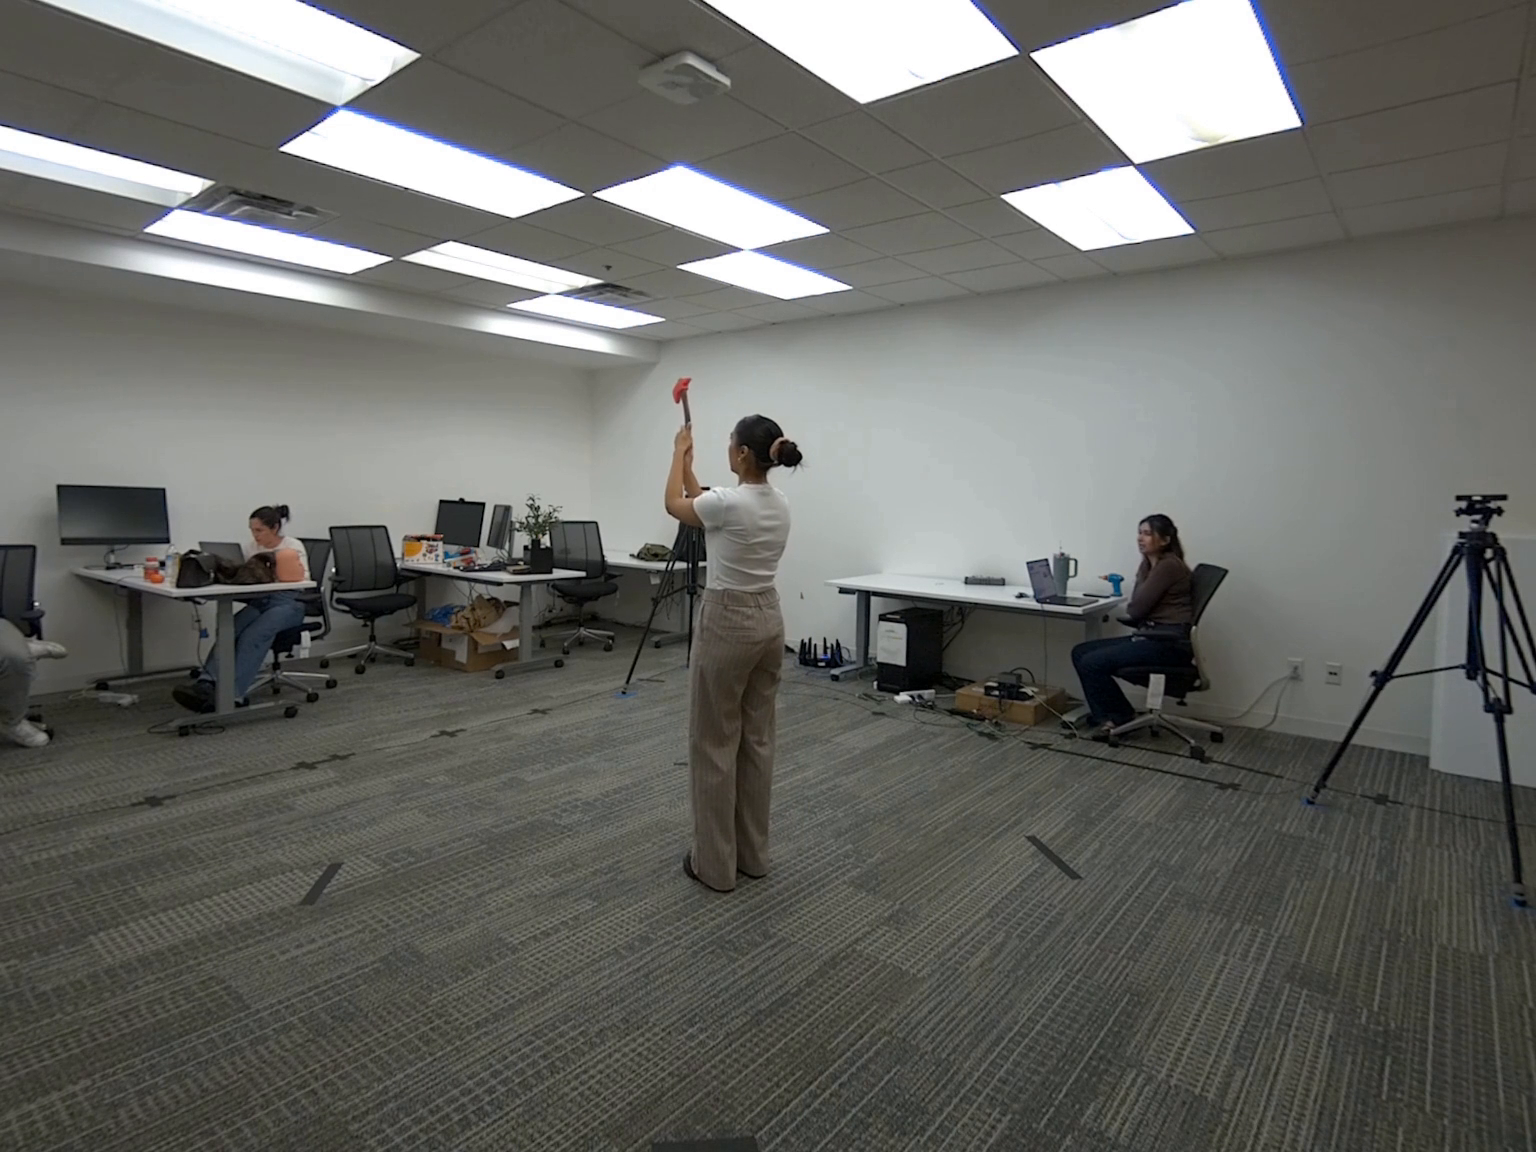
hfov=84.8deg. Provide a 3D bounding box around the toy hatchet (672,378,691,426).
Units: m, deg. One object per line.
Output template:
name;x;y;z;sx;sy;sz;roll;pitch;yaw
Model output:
toy hatchet;-0.349;-0.642;3.313;0.029;0.270;0.135;0;-1;-39
